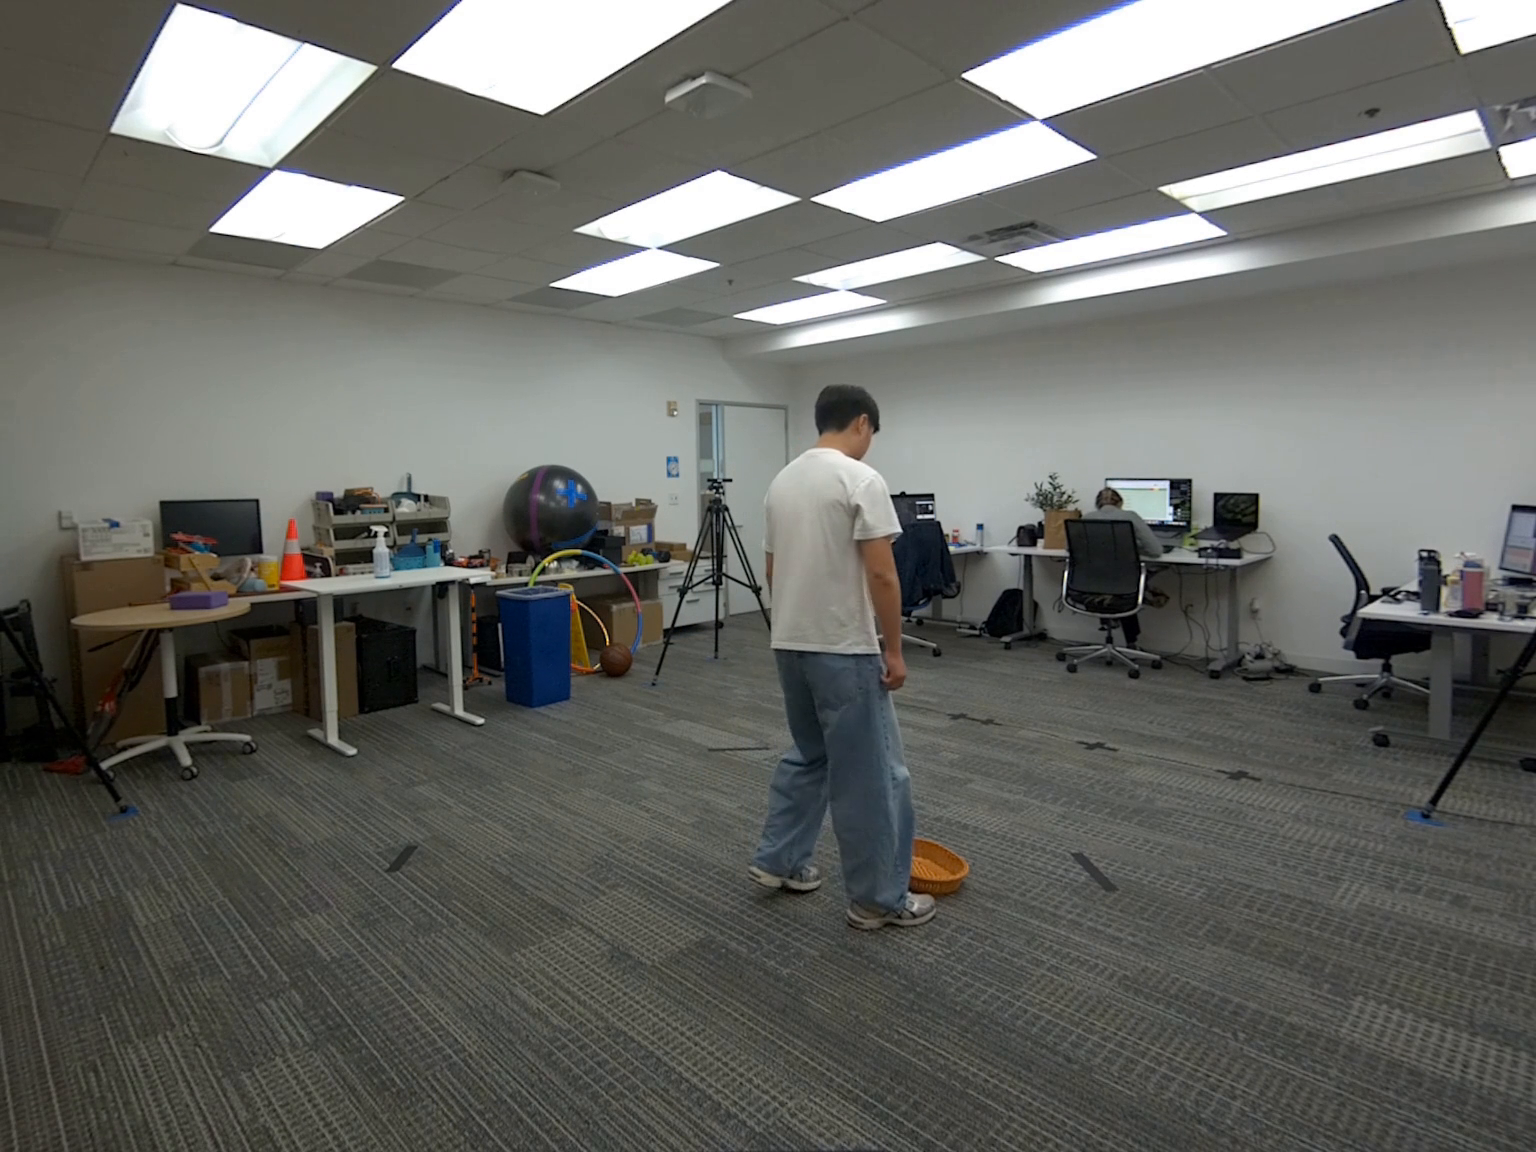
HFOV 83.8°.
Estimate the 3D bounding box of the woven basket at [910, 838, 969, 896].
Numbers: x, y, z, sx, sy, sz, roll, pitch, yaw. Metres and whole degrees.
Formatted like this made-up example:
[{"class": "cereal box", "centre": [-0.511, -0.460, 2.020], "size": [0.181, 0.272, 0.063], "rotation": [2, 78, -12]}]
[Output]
[{"class": "woven basket", "centre": [0.534, 1.008, 2.976], "size": [0.247, 0.073, 0.360], "rotation": [-4, 7, -27]}]
